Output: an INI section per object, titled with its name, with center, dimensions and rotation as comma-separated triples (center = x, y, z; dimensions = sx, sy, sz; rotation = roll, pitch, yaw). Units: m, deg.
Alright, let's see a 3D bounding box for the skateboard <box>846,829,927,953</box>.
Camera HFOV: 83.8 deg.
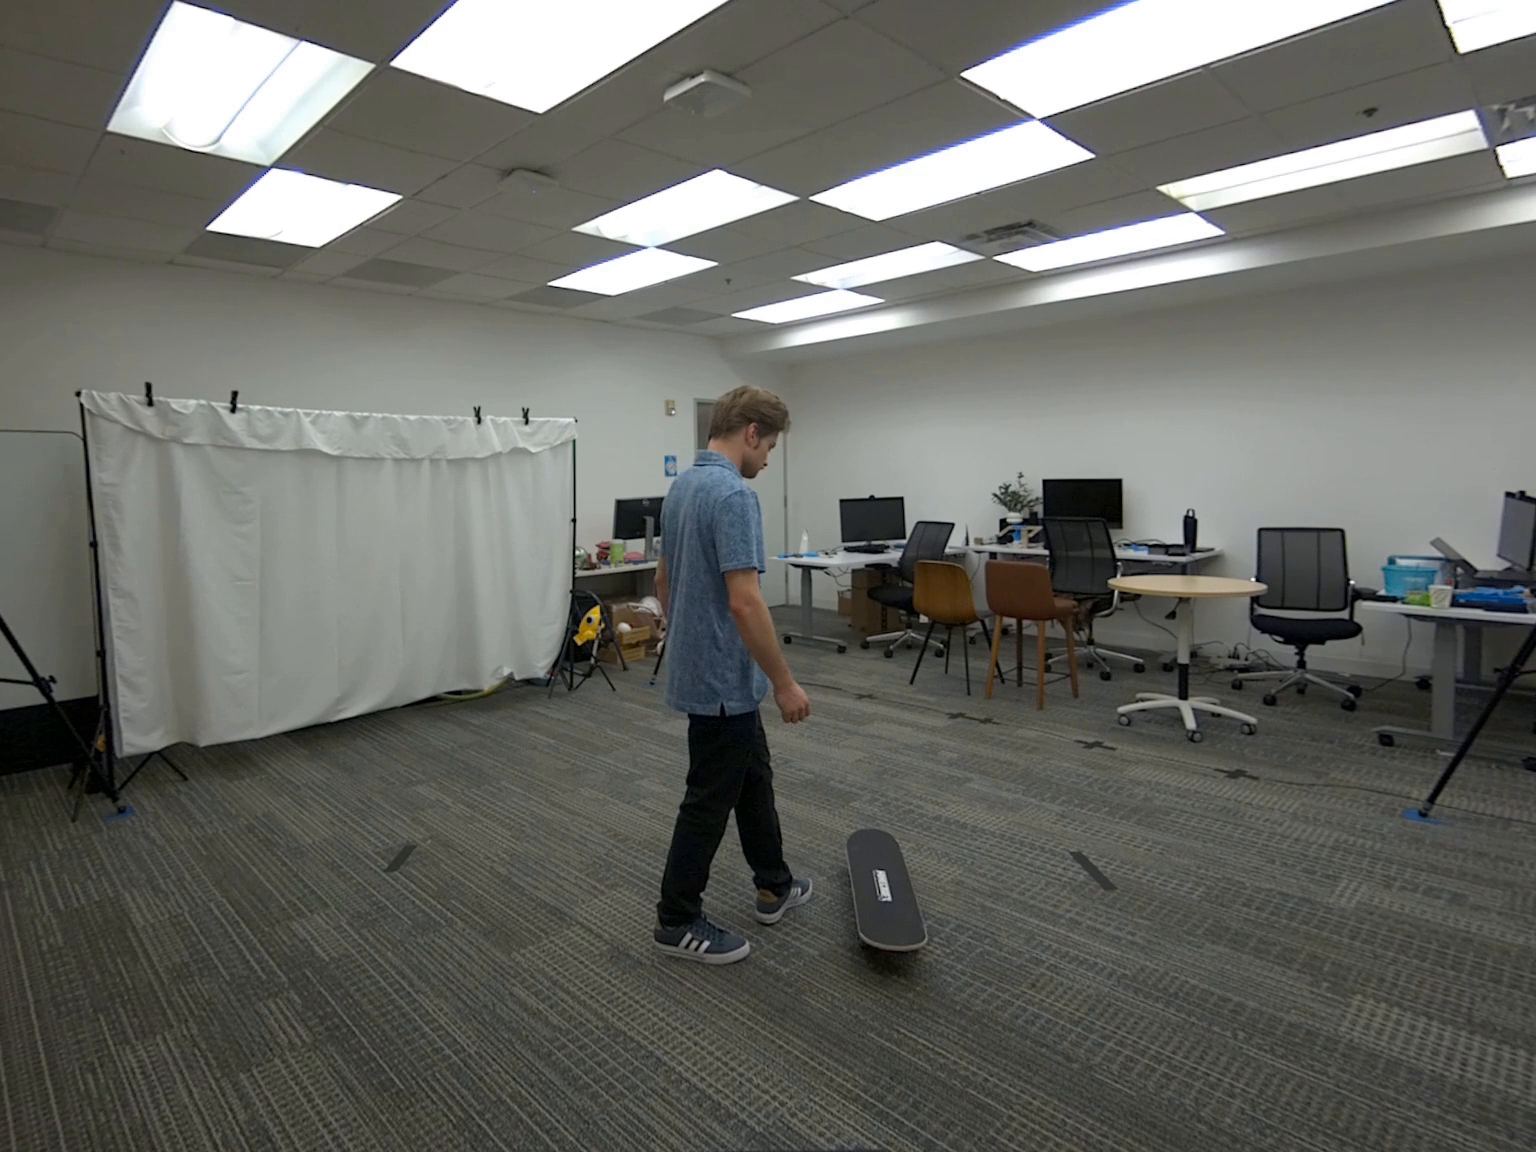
[skateboard]
center = 0.377, 1.023, 2.734
dimensions = 0.194, 0.110, 0.787
rotation = 0, 7, 1
